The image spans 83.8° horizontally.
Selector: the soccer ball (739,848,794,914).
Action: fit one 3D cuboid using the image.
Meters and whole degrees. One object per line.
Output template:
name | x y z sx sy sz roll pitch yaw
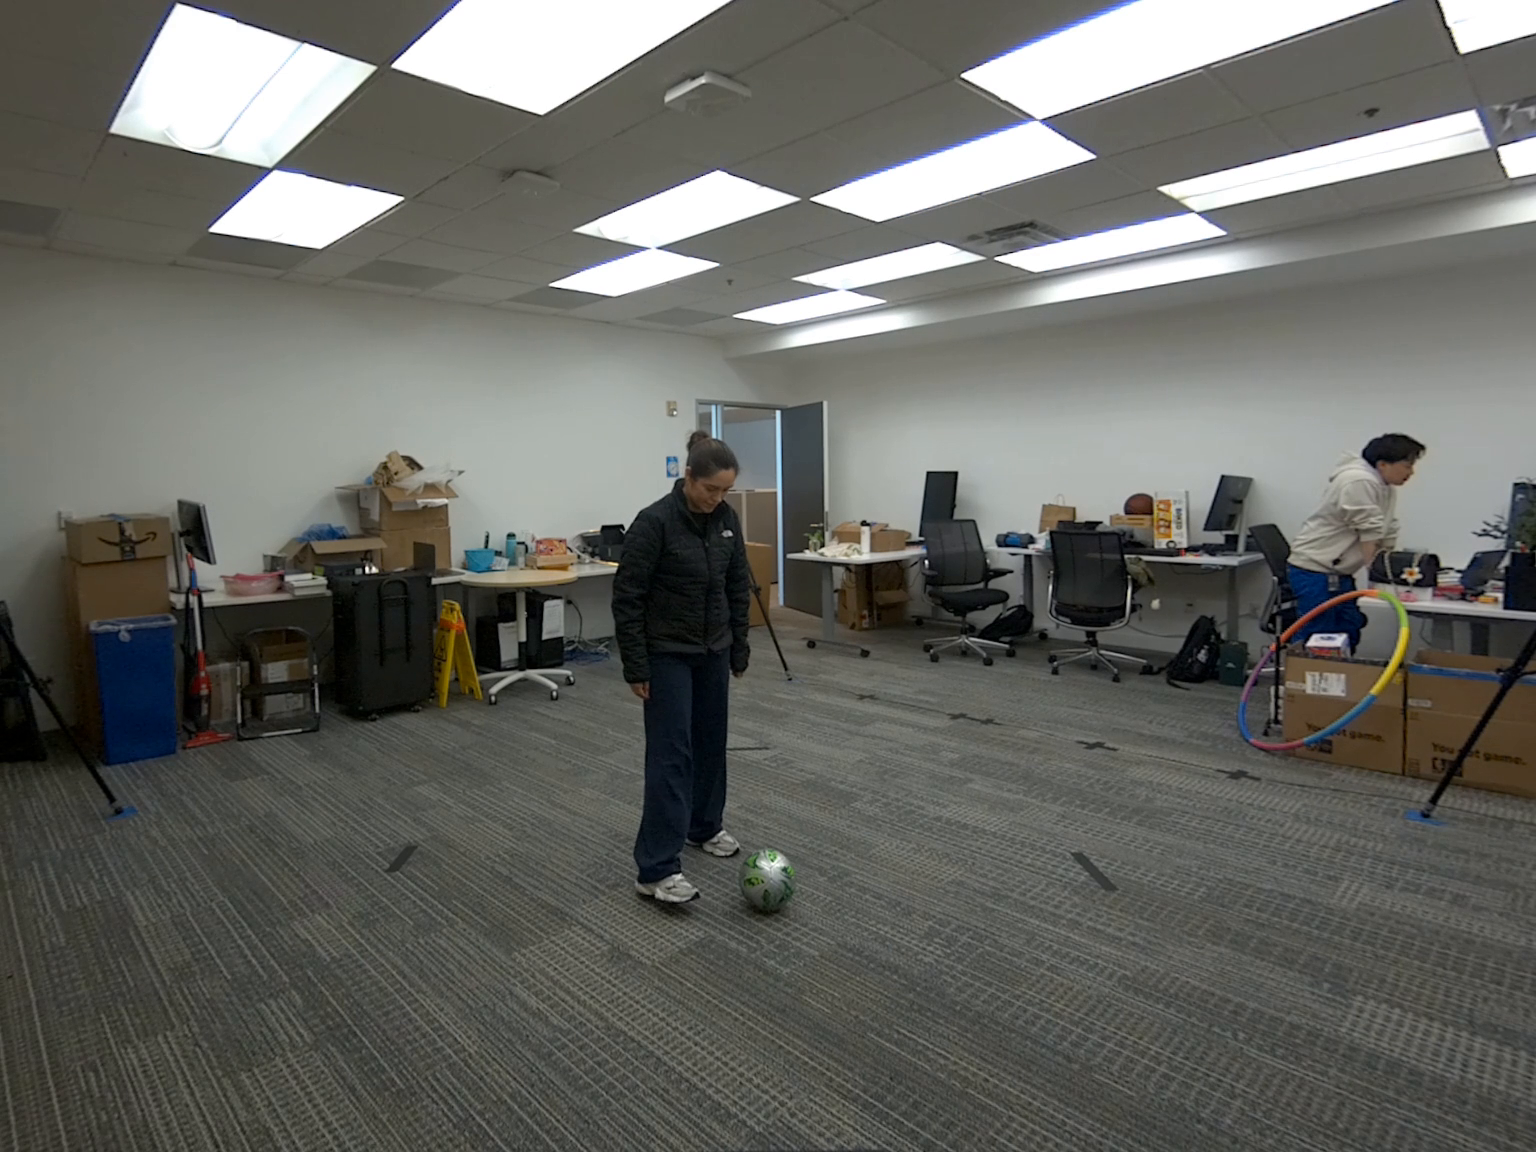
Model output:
soccer ball | 0.004 0.984 2.779 0.187 0.187 0.188 -1 5 -2
